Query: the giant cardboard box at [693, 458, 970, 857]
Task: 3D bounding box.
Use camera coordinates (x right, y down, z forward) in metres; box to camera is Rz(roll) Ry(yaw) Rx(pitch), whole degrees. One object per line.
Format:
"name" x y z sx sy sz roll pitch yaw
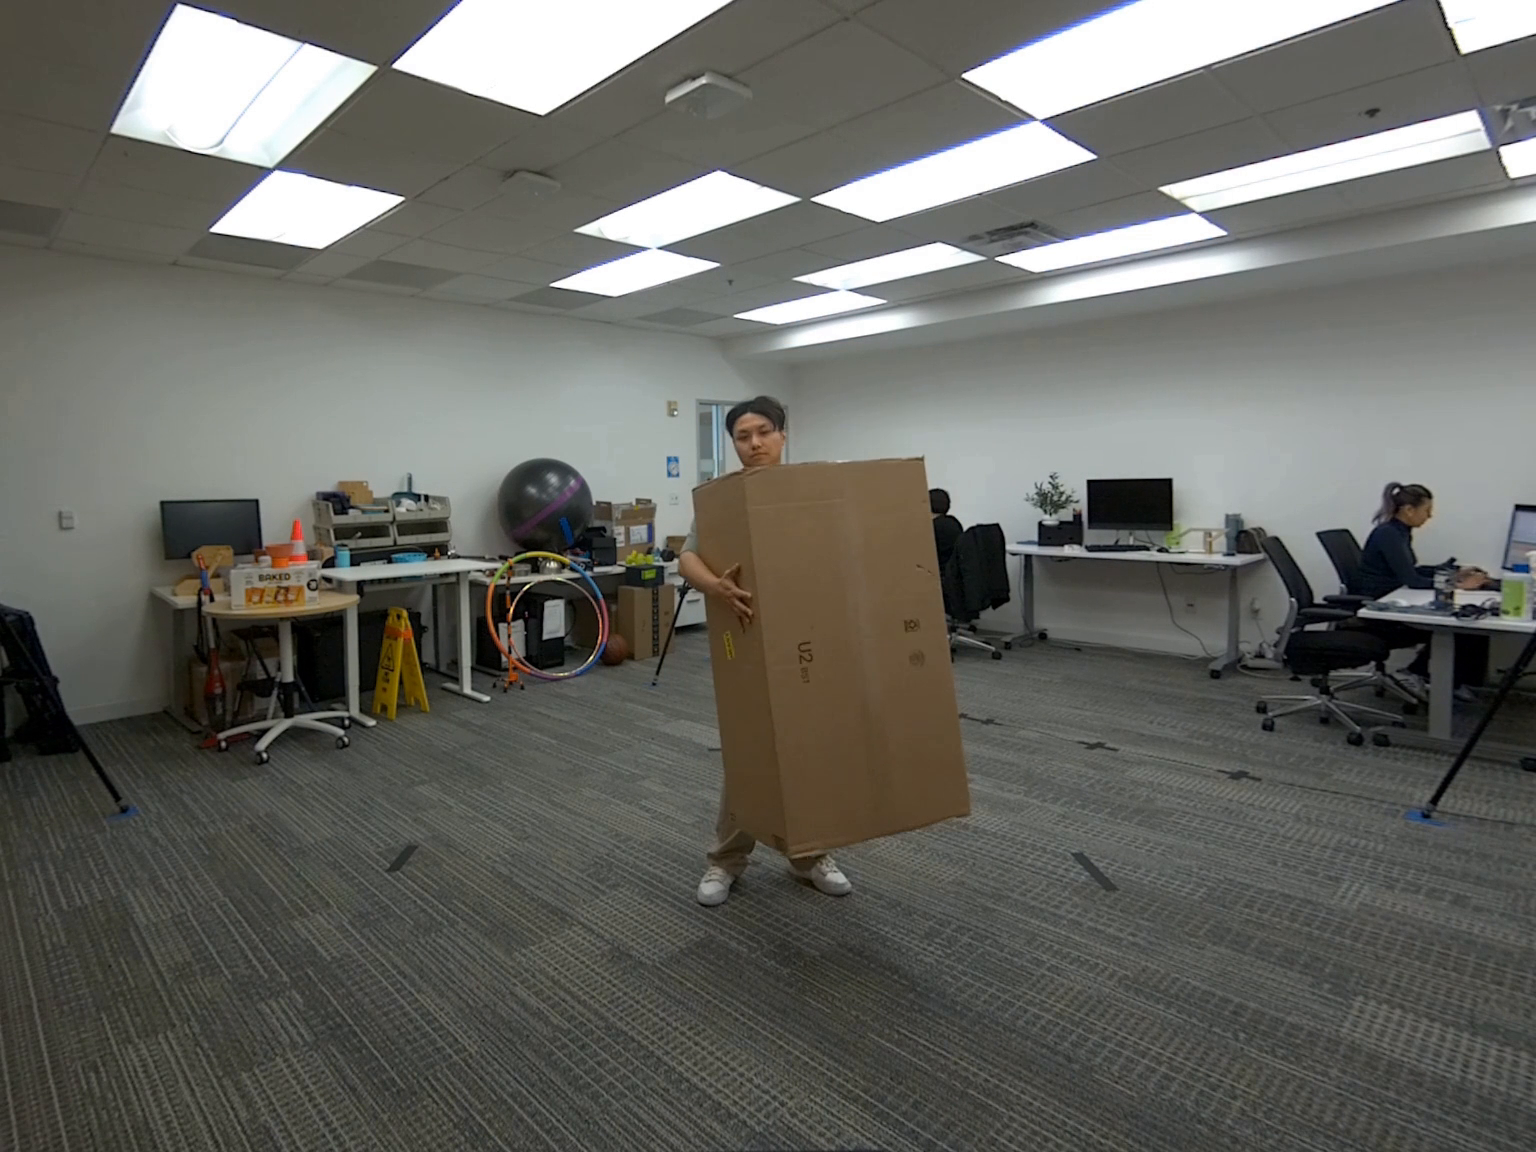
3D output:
"giant cardboard box" 0.171 0.208 2.504 0.567 1.028 0.433 -5 -2 -22
